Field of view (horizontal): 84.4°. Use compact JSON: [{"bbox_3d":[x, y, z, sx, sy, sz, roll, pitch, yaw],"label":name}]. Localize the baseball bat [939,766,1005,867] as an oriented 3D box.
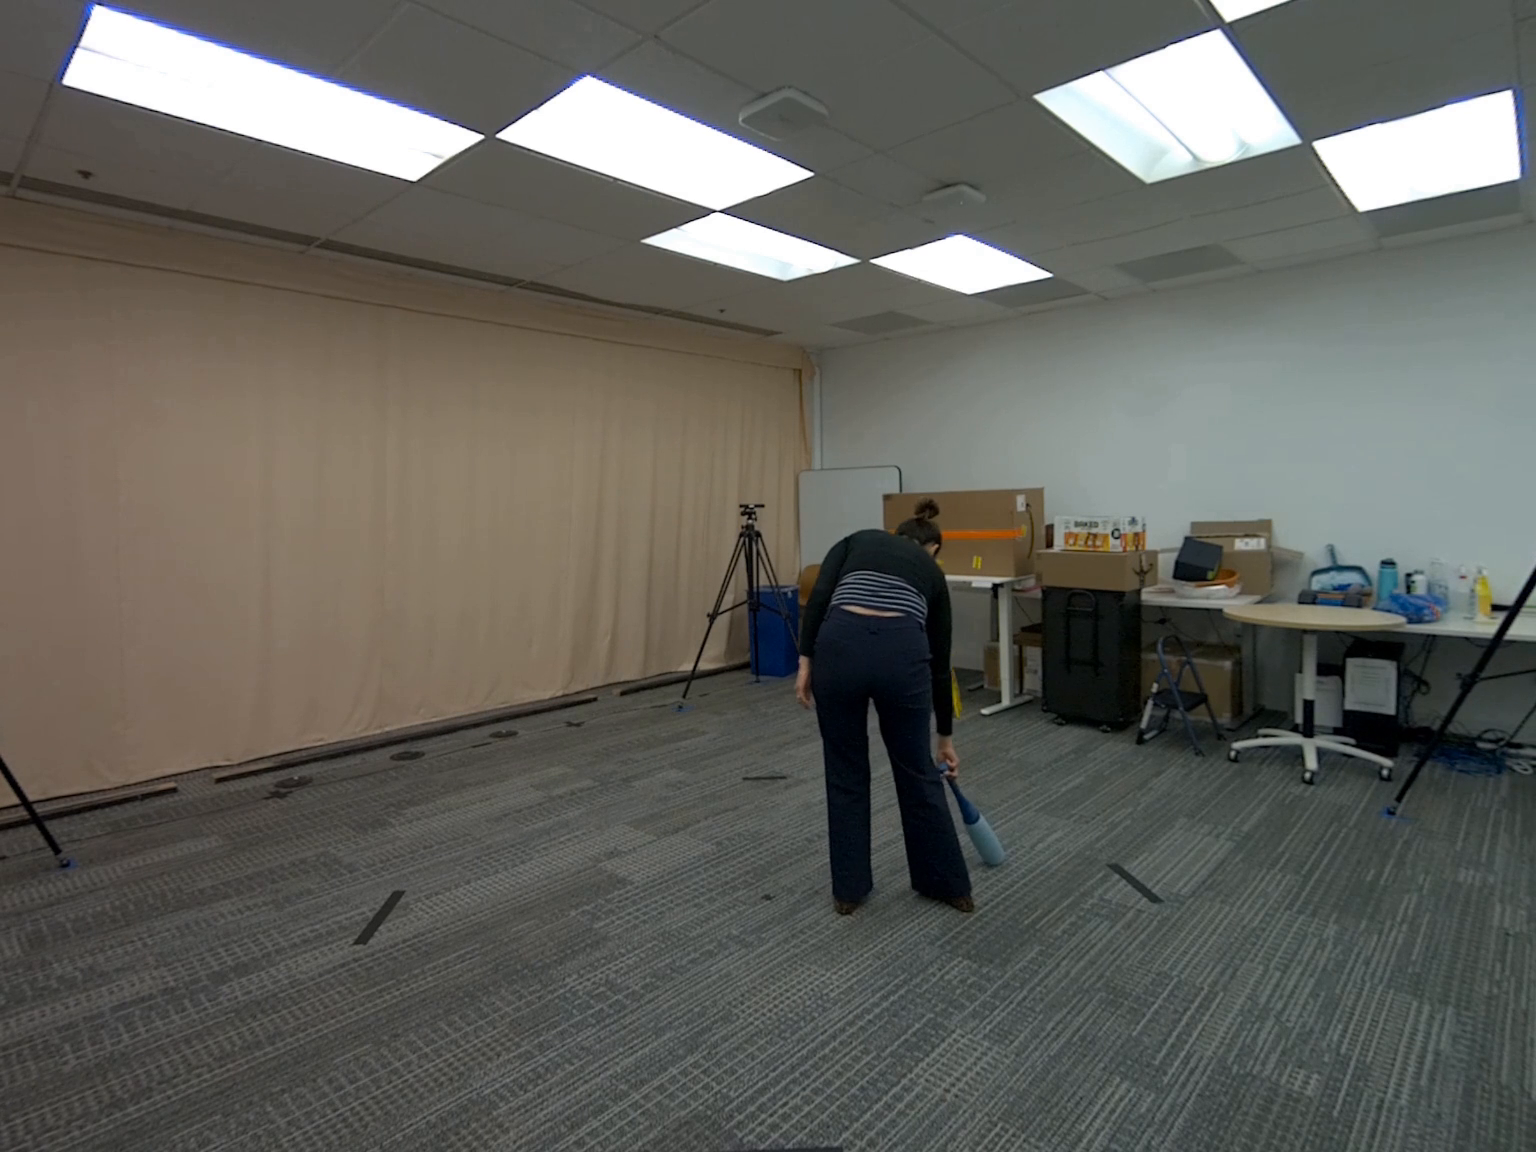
[{"bbox_3d":[0.751,0.887,3.126,0.090,0.529,0.090,-25,27,13],"label":"baseball bat"}]
